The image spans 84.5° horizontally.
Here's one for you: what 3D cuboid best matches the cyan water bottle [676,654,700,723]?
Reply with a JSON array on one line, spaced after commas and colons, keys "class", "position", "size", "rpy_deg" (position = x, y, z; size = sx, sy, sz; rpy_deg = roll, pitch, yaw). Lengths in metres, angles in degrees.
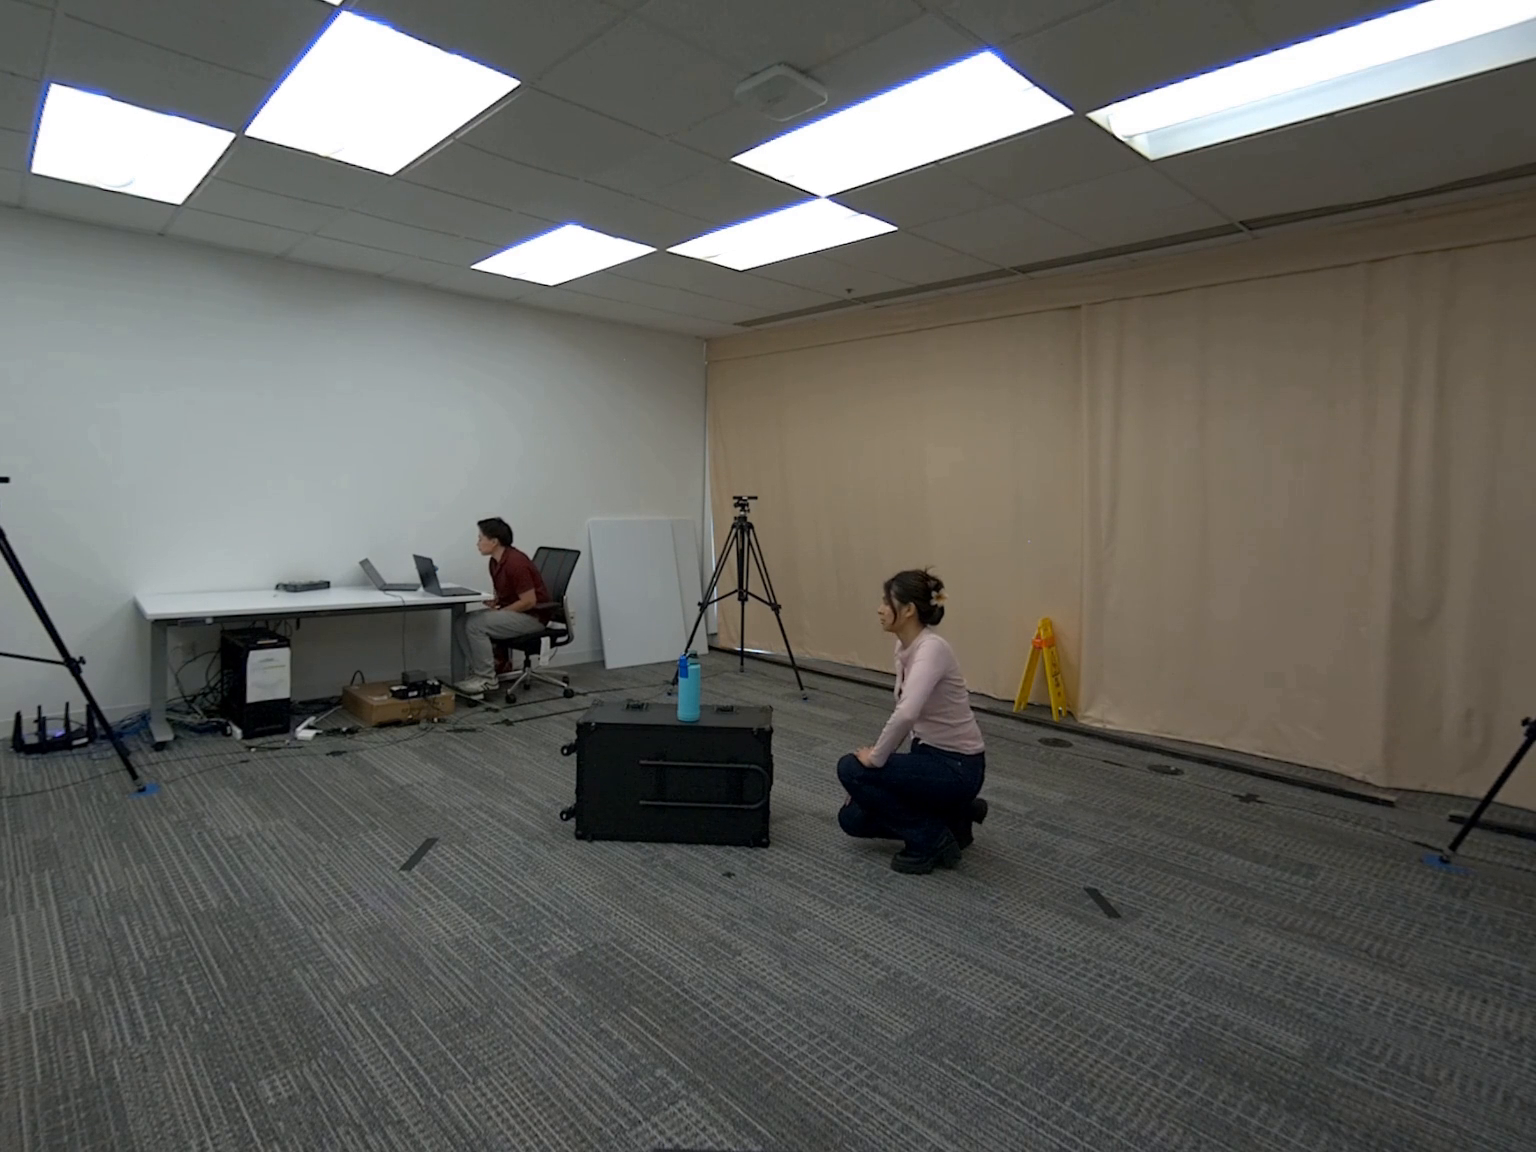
[{"class": "cyan water bottle", "position": [-0.324, 0.444, 3.449], "size": [0.092, 0.283, 0.092], "rpy_deg": [2, 3, -1]}]
